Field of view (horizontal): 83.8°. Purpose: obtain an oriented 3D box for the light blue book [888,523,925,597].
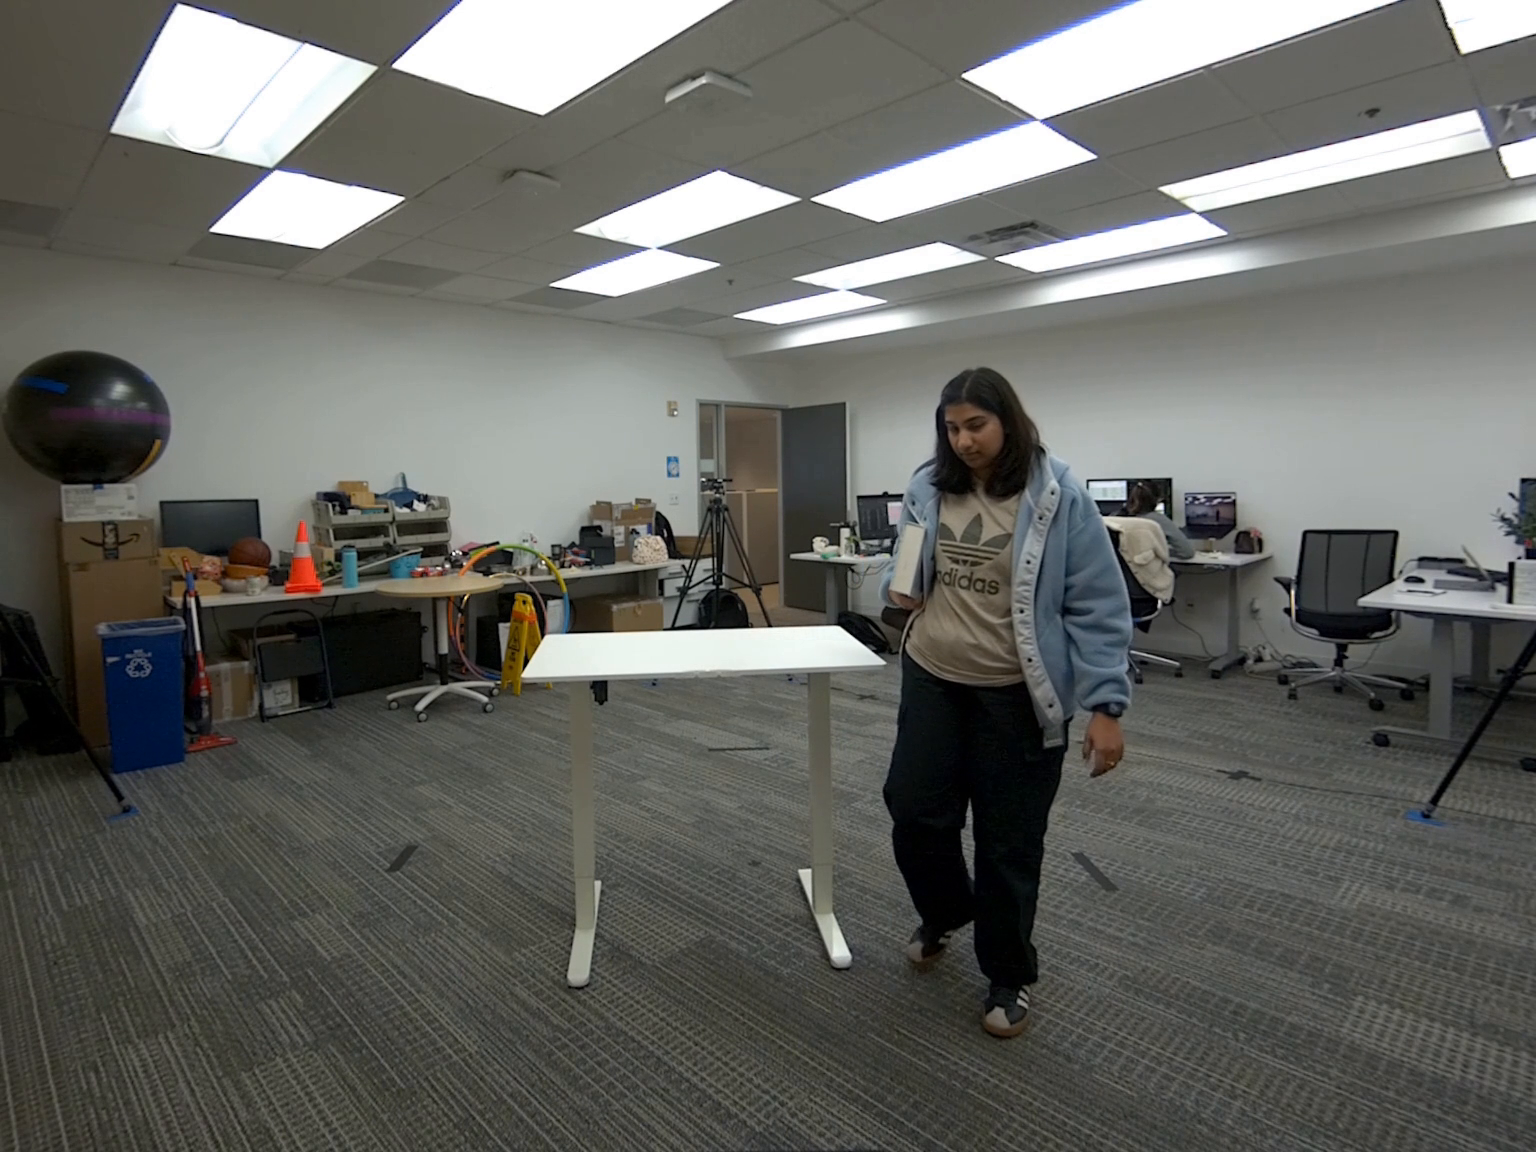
[{"bbox_3d":[0.410,-0.030,2.337,0.060,0.192,0.254,8,-5,20],"label":"light blue book"}]
